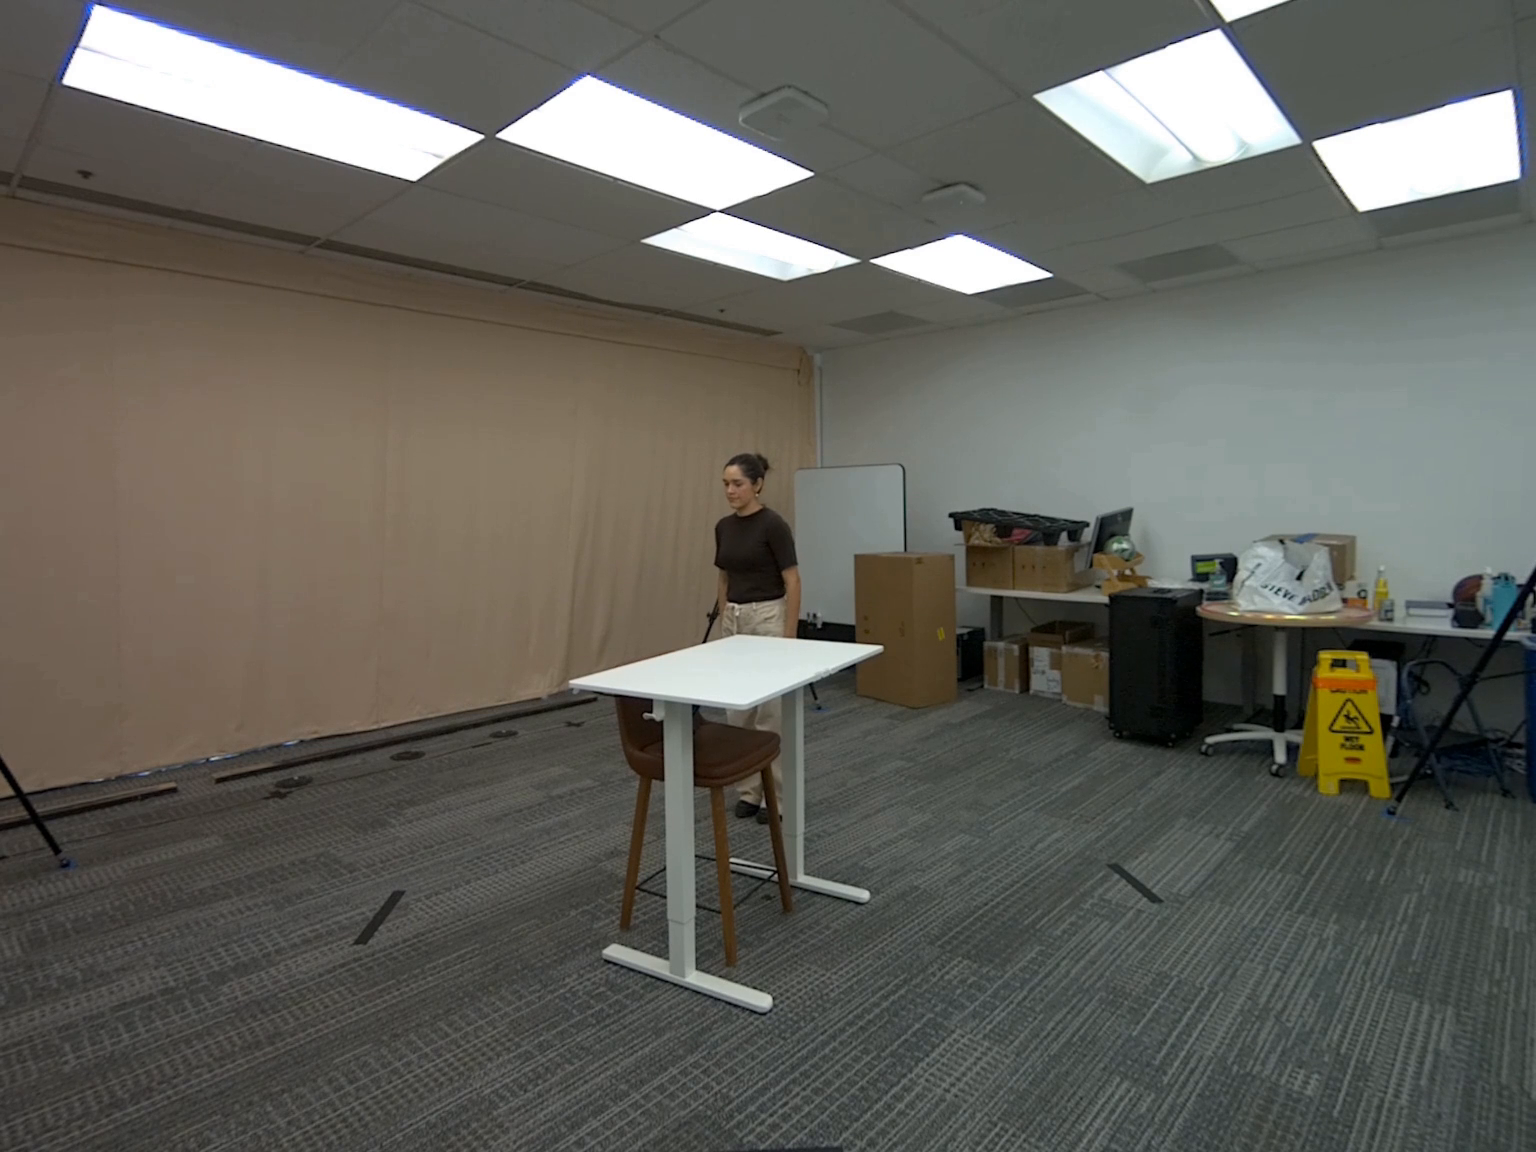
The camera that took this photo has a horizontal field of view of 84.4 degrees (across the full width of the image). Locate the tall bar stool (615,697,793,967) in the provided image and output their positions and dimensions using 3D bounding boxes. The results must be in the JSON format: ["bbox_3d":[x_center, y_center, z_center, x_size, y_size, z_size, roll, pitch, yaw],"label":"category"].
[{"bbox_3d":[-0.219,0.728,2.800,0.481,0.888,0.444,0,3,31],"label":"tall bar stool"}]
